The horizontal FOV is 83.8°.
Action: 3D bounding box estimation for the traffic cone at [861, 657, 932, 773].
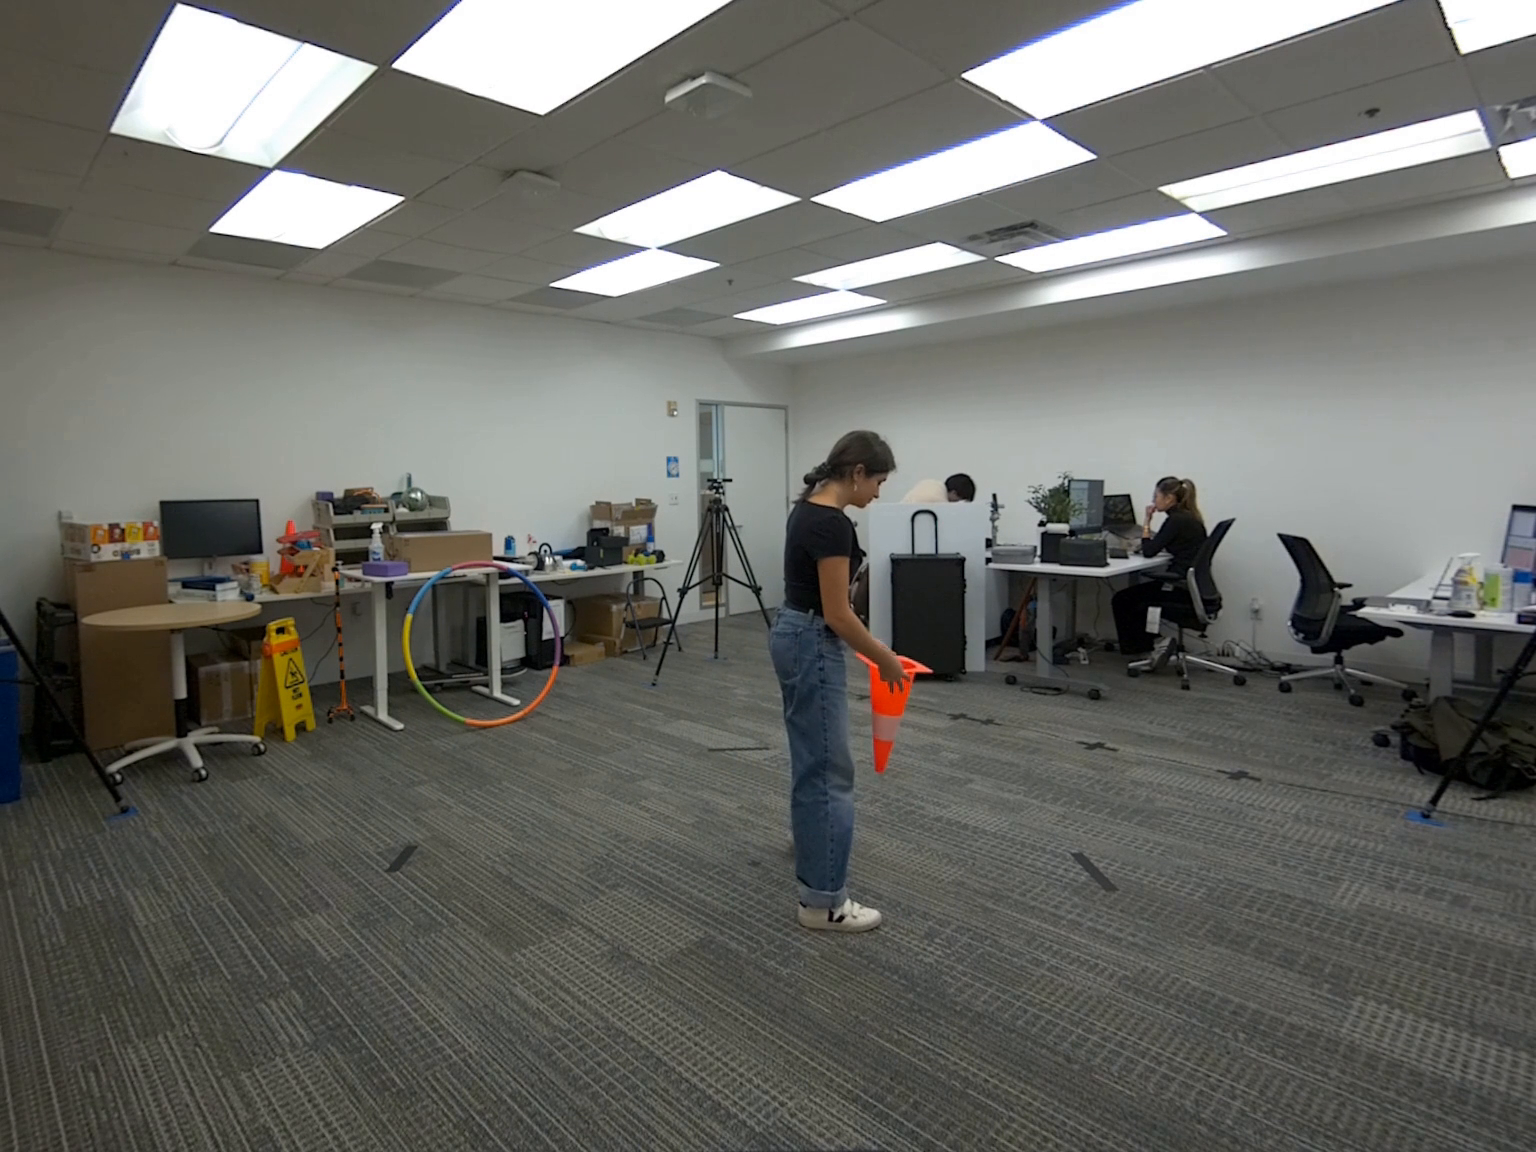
[{"bbox_3d":[0.396,0.480,2.878,0.201,0.381,0.209,4,9,-21],"label":"traffic cone"}]
